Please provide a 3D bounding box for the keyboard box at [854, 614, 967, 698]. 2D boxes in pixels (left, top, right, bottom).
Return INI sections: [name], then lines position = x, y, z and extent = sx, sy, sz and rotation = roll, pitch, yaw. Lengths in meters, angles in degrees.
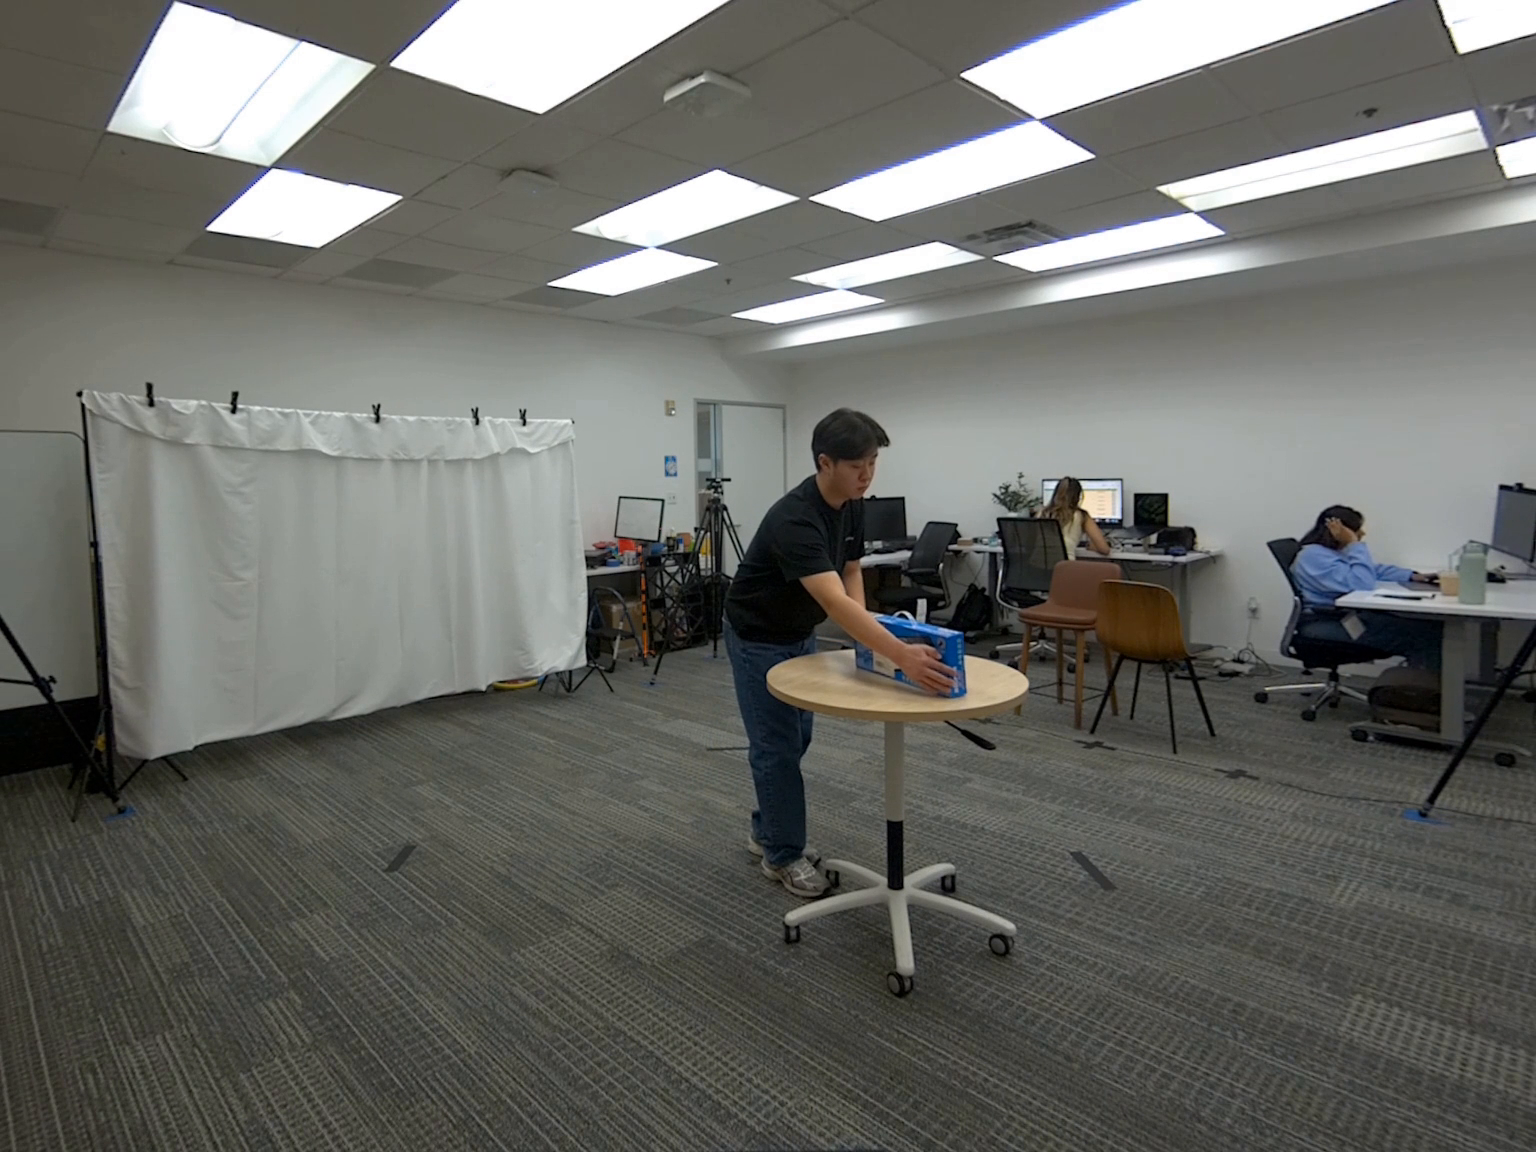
[keyboard box]
position = 0.410, 0.227, 2.483
extent = 0.058, 0.175, 0.449
rotation = -9, 9, -28
